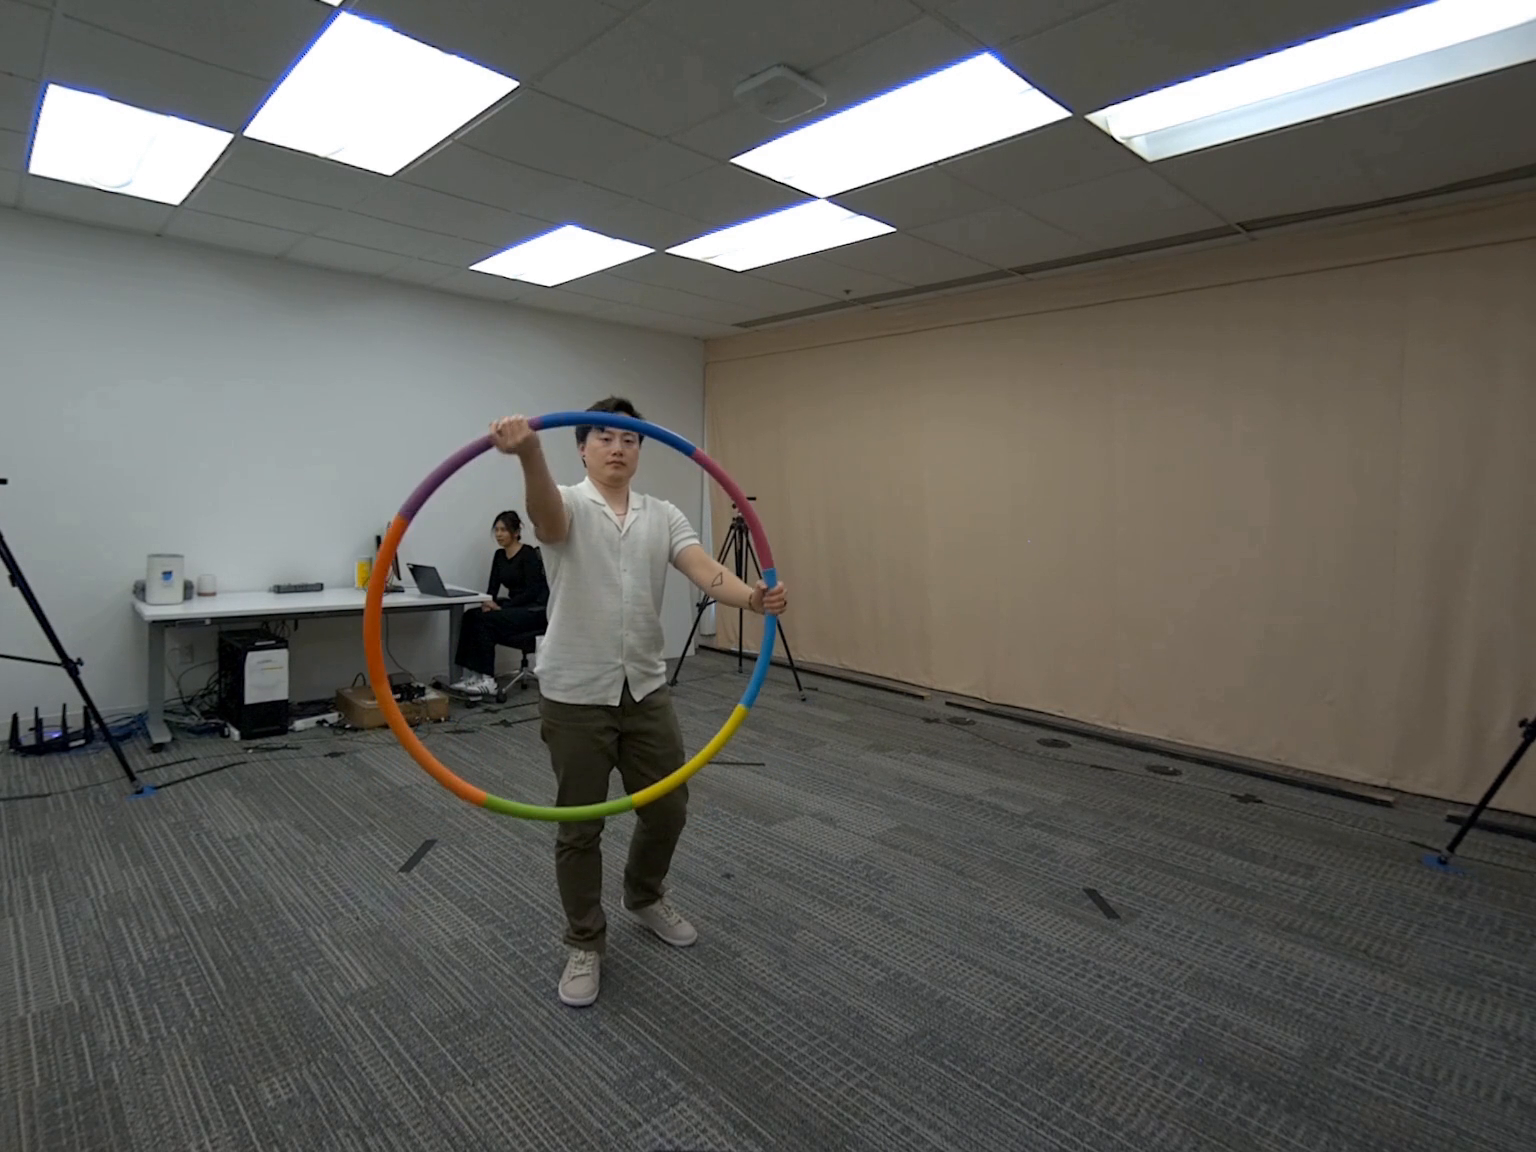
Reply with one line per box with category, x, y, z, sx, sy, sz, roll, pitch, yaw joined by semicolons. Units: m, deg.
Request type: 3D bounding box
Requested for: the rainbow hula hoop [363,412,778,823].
rainbow hula hoop;-0.429;0.105;2.002;0.962;0.974;0.036;0;6;-22
